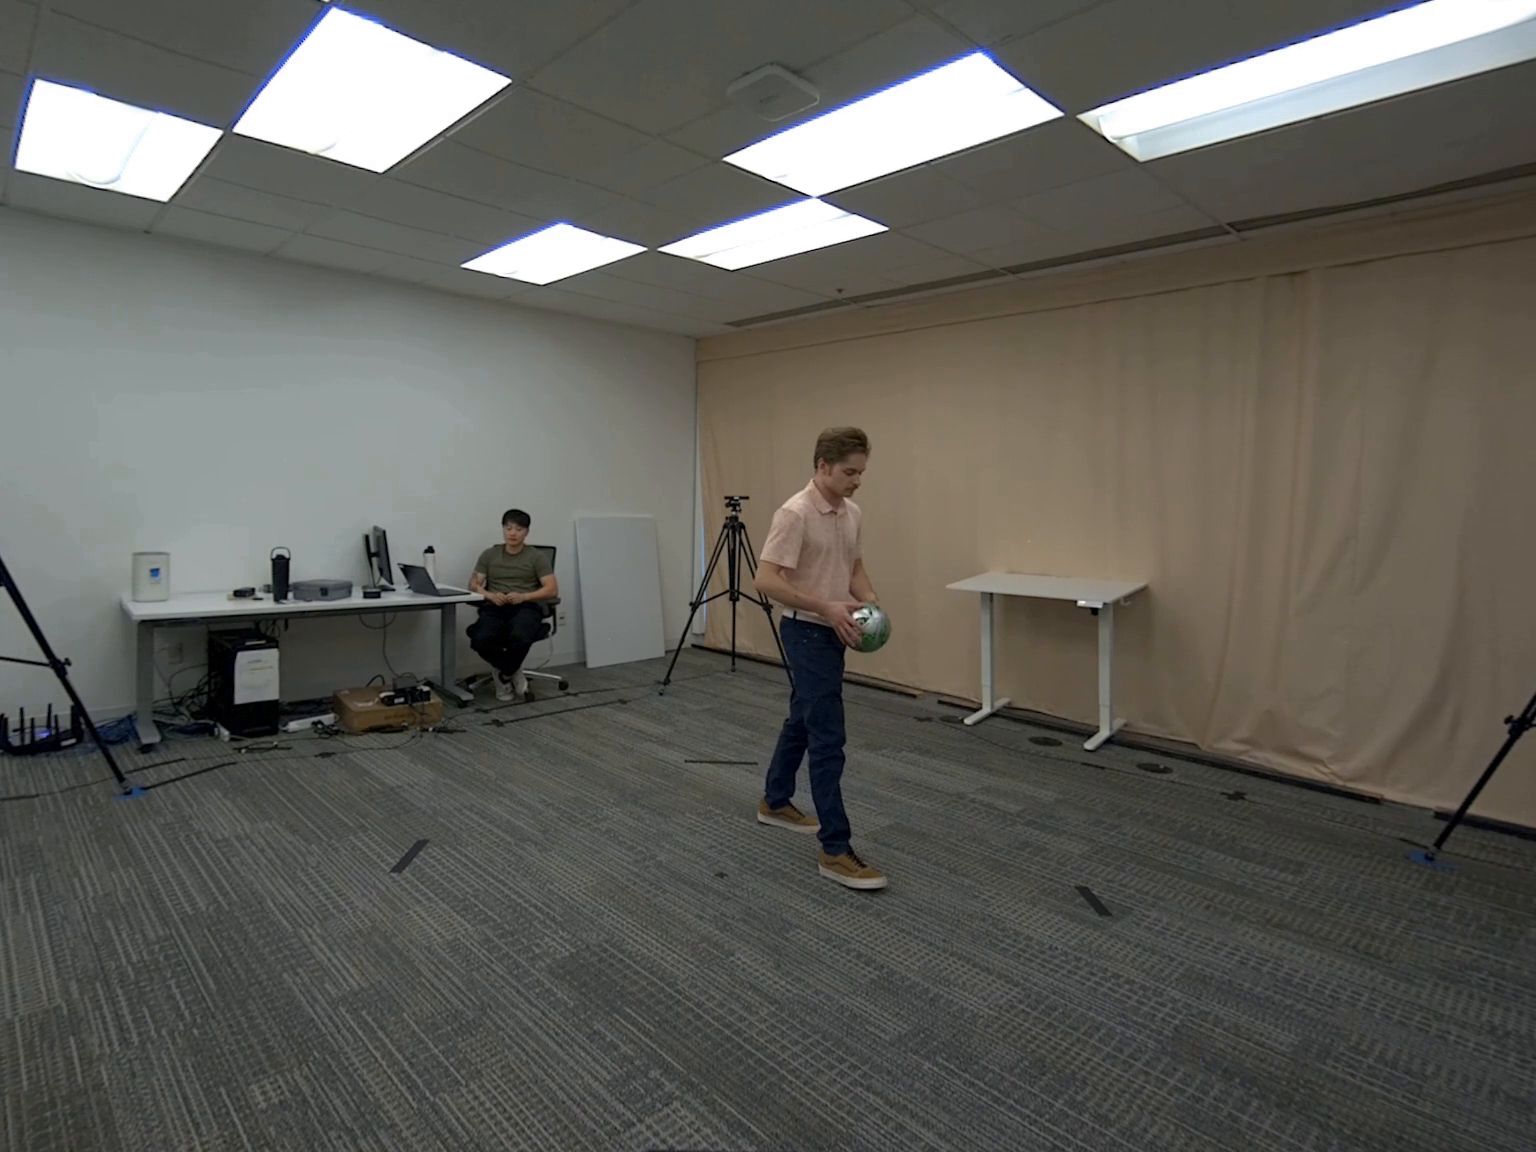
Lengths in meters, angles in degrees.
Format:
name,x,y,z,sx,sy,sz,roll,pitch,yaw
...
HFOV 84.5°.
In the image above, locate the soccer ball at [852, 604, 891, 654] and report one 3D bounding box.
name,x,y,z,sx,sy,sz,roll,pitch,yaw
soccer ball,0.344,0.189,3.132,0.187,0.187,0.188,1,4,-1
